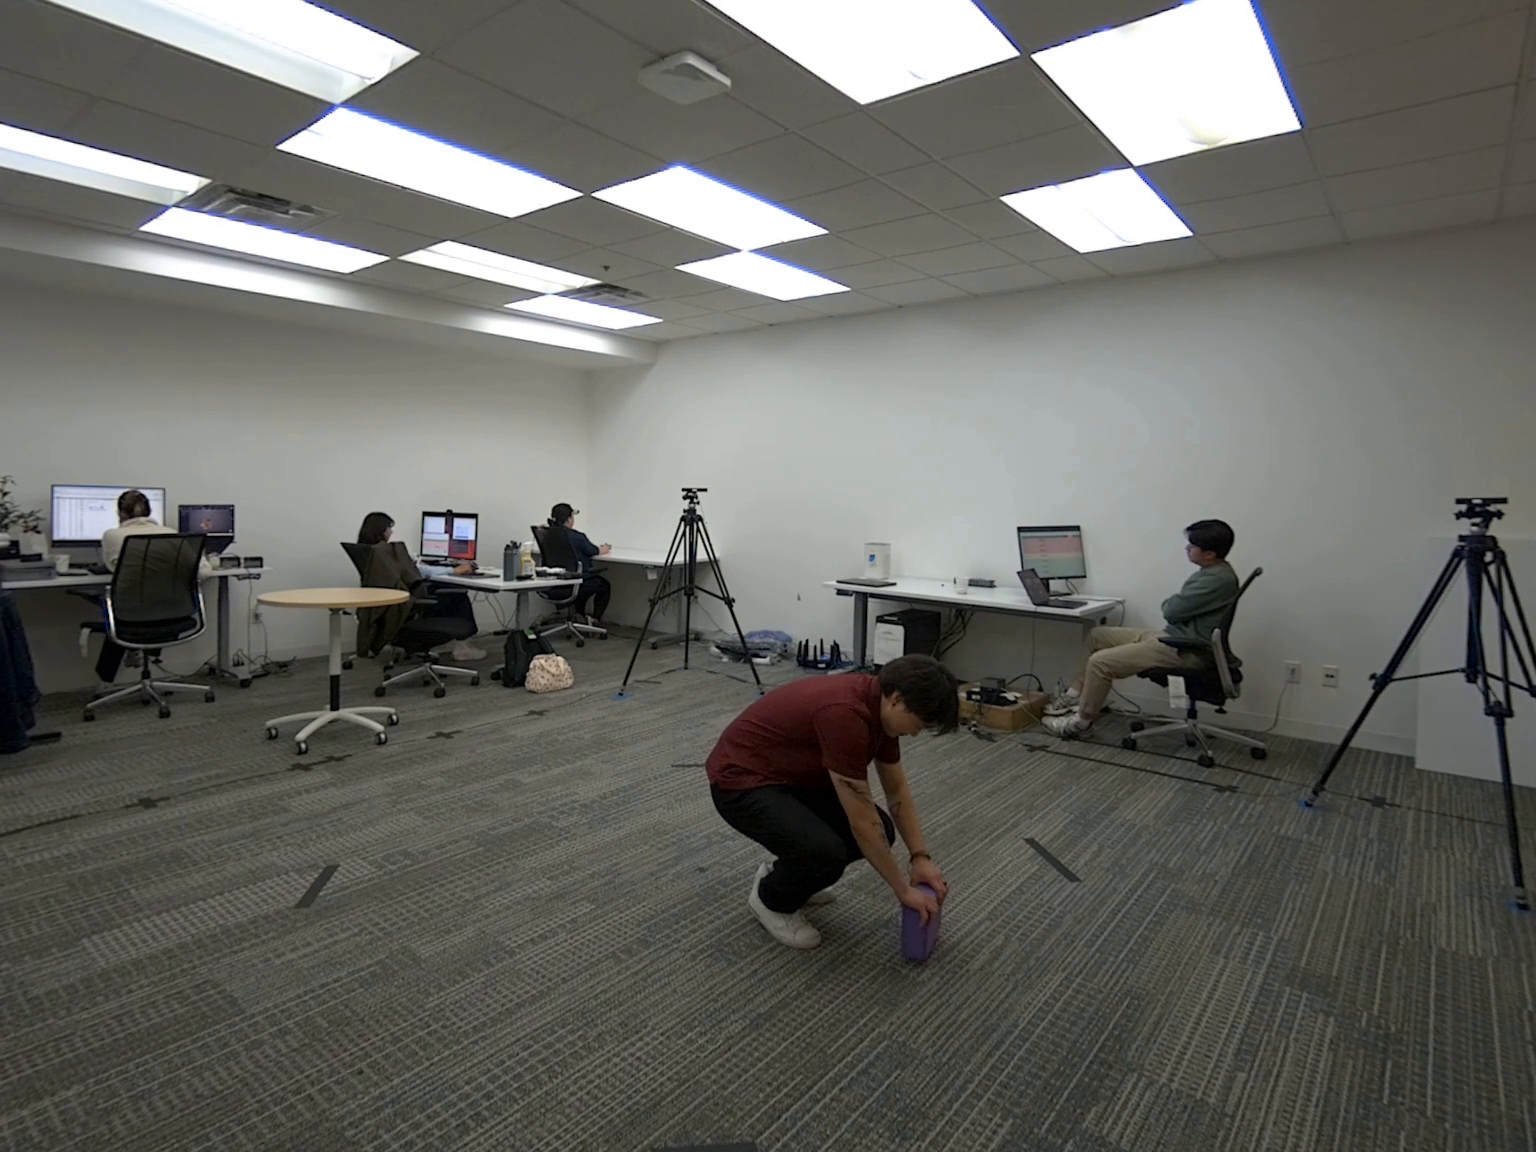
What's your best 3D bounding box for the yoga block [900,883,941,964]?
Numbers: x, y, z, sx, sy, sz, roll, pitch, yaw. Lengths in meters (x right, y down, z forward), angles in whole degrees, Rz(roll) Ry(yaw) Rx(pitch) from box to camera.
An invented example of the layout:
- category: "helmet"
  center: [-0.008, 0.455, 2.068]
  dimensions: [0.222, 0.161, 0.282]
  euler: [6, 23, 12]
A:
- category: "yoga block"
  center: [0.454, 1.045, 2.606]
  dimensions: [0.078, 0.149, 0.224]
  euler: [2, 4, 23]
